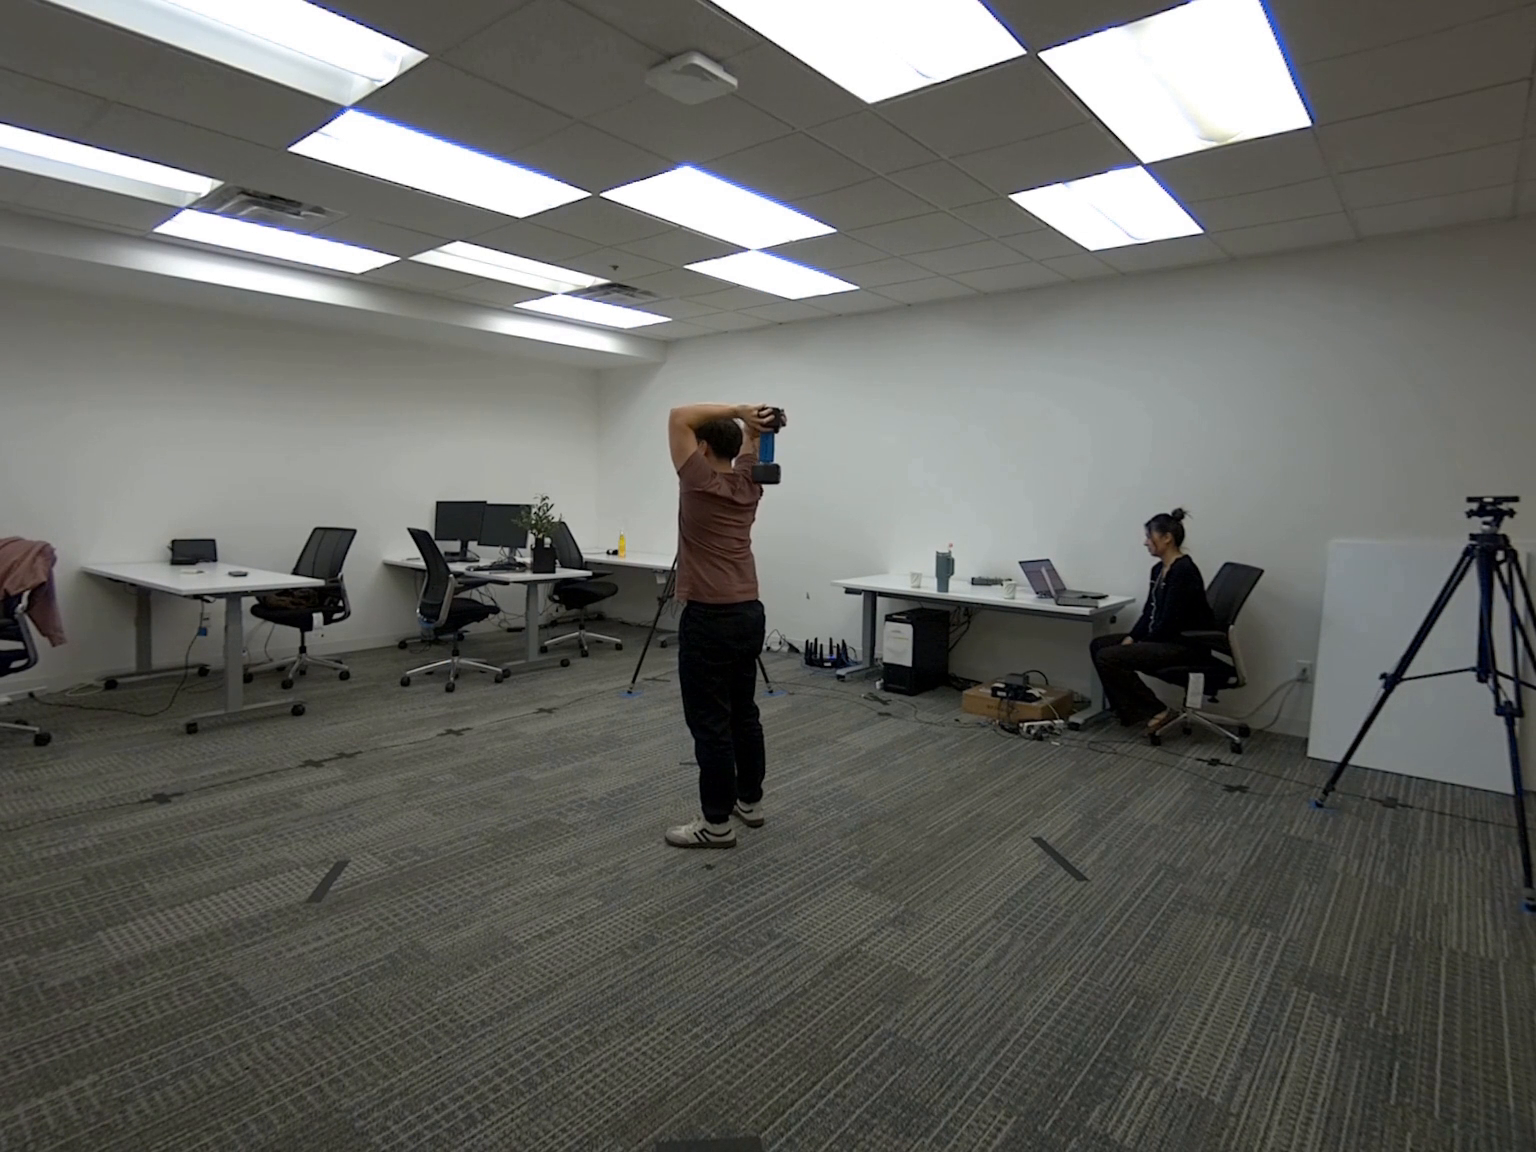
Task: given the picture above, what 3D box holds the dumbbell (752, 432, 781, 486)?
[{"bbox_3d":[-0.027,-0.505,3.273,0.127,0.294,0.105,-2,0,40],"label":"dumbbell"}]
